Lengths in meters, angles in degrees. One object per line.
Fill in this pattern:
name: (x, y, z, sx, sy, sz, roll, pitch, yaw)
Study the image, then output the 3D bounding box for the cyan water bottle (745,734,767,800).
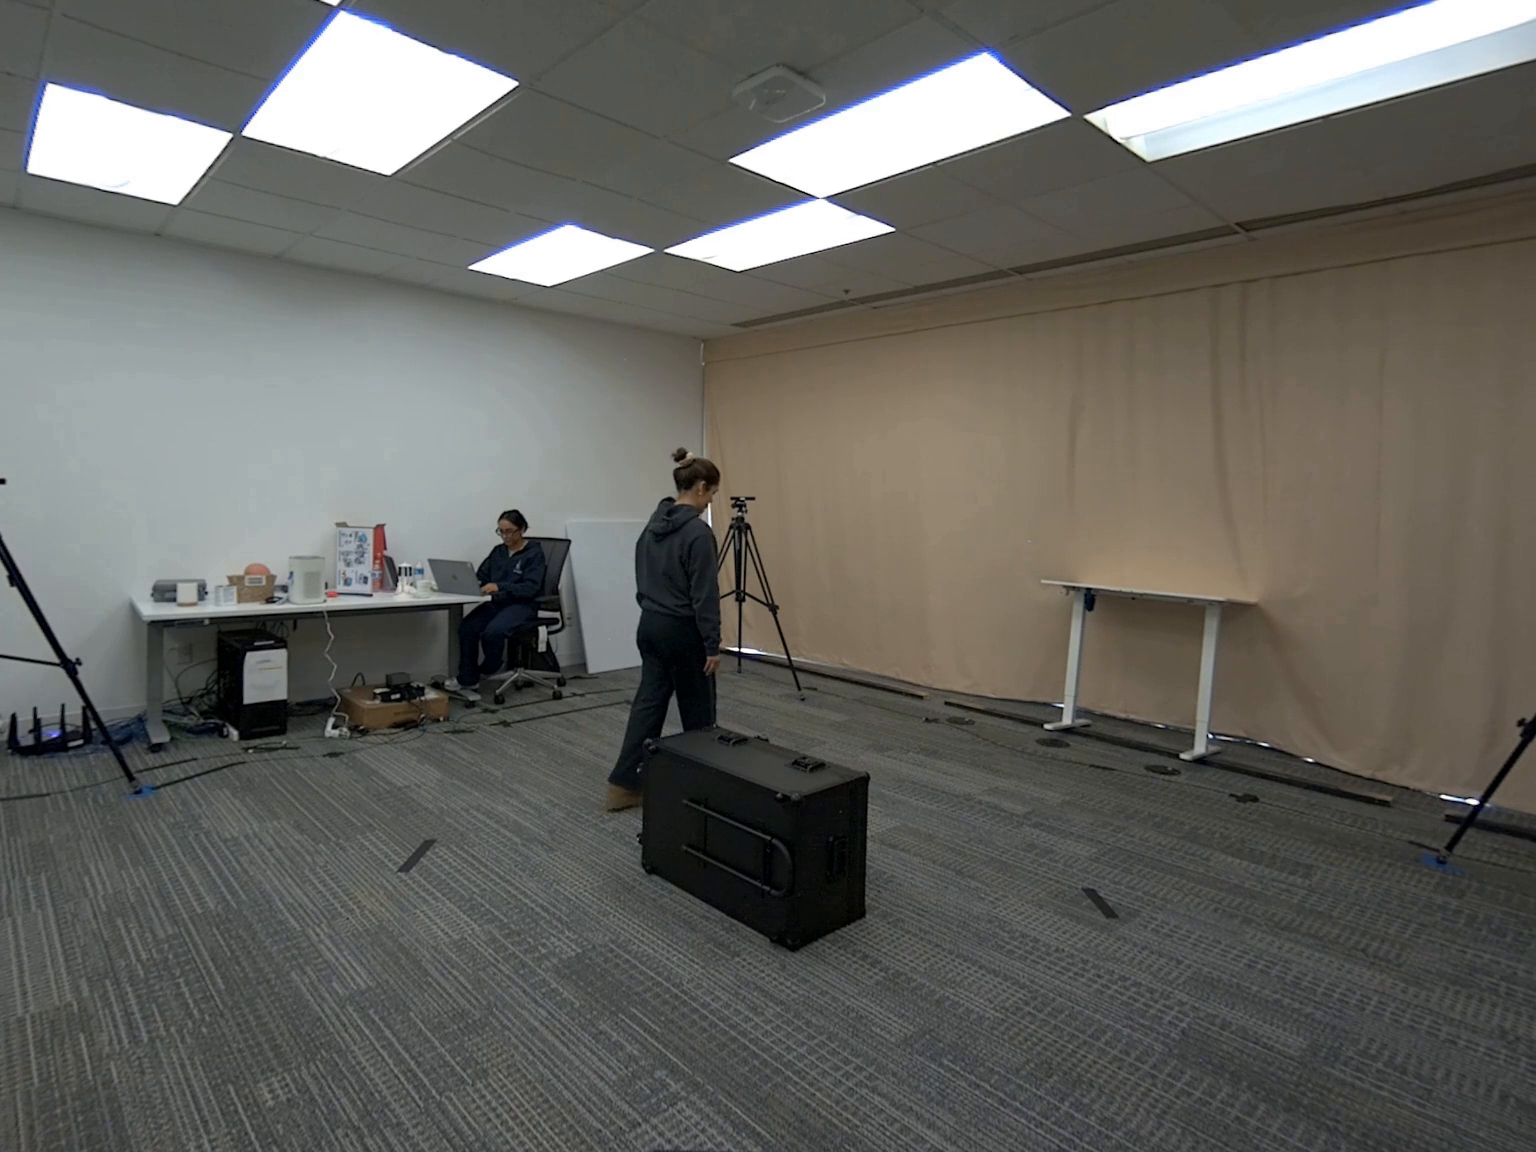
cyan water bottle: (-0.060, 0.901, 4.011, 0.092, 0.283, 0.092, 1, 2, -1)
